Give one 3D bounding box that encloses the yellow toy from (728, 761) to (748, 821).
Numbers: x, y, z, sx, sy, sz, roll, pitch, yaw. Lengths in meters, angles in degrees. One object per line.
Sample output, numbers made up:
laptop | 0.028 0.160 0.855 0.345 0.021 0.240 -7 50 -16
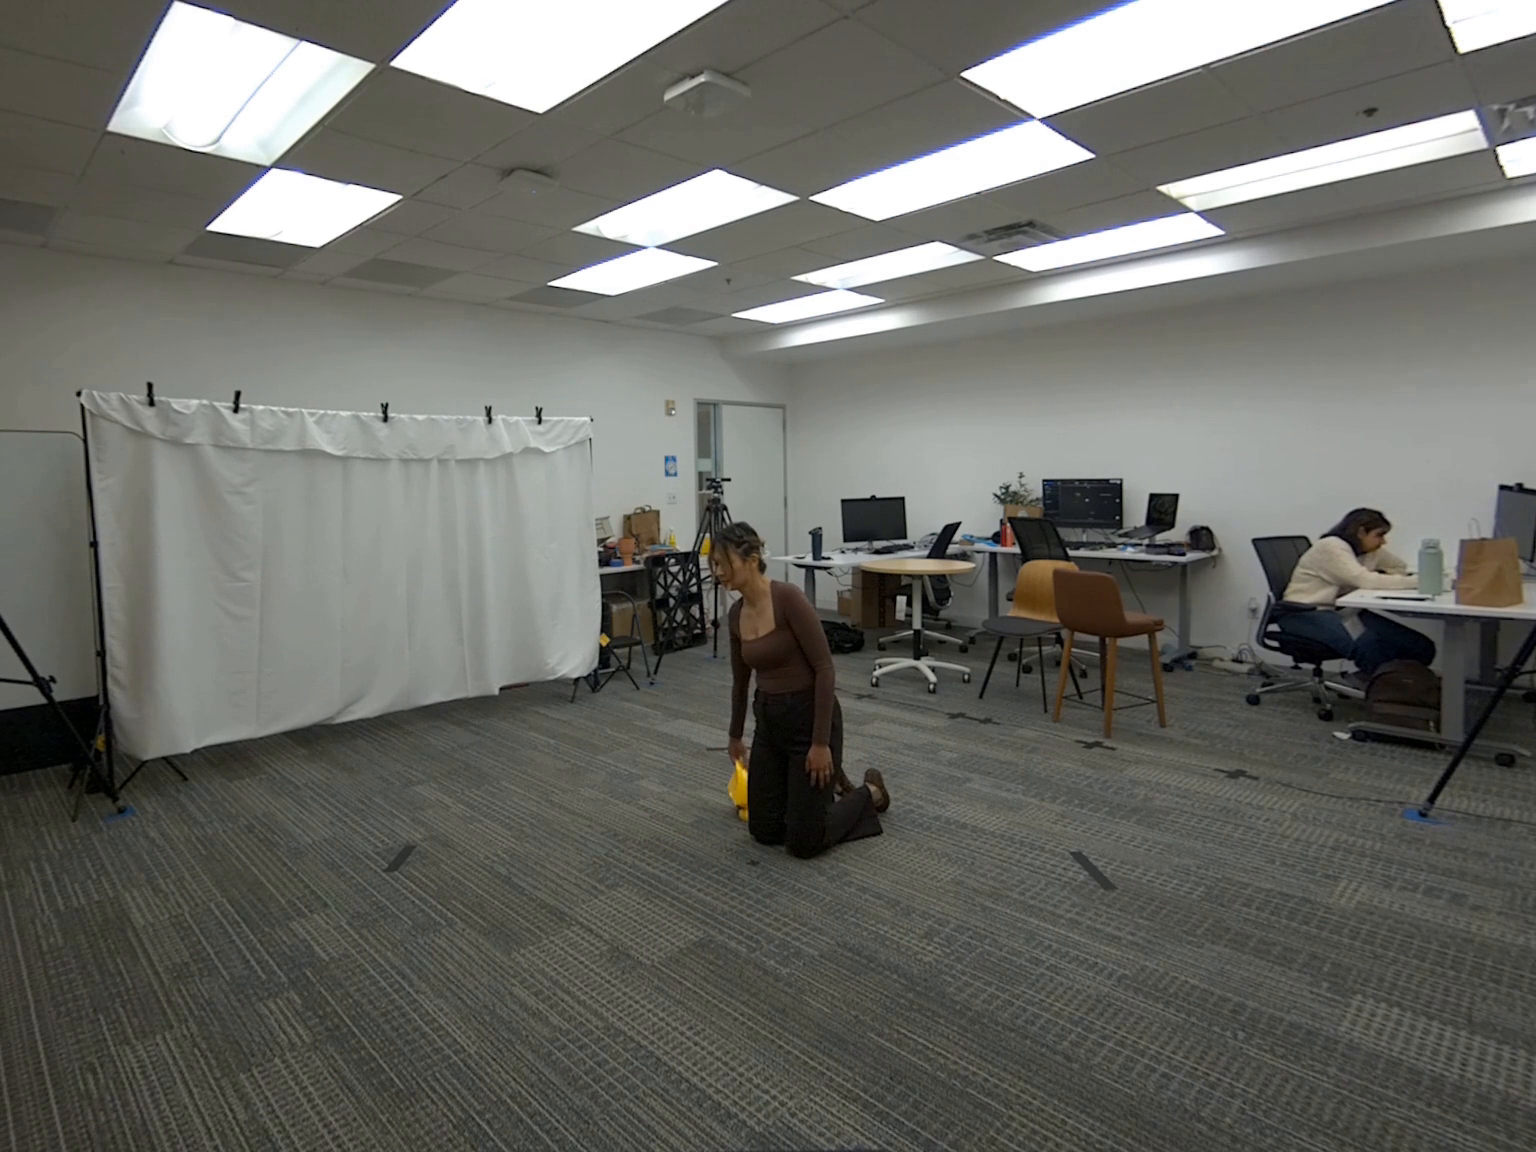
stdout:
yellow toy | -0.064 0.872 3.574 0.191 0.229 0.207 -7 5 -10
